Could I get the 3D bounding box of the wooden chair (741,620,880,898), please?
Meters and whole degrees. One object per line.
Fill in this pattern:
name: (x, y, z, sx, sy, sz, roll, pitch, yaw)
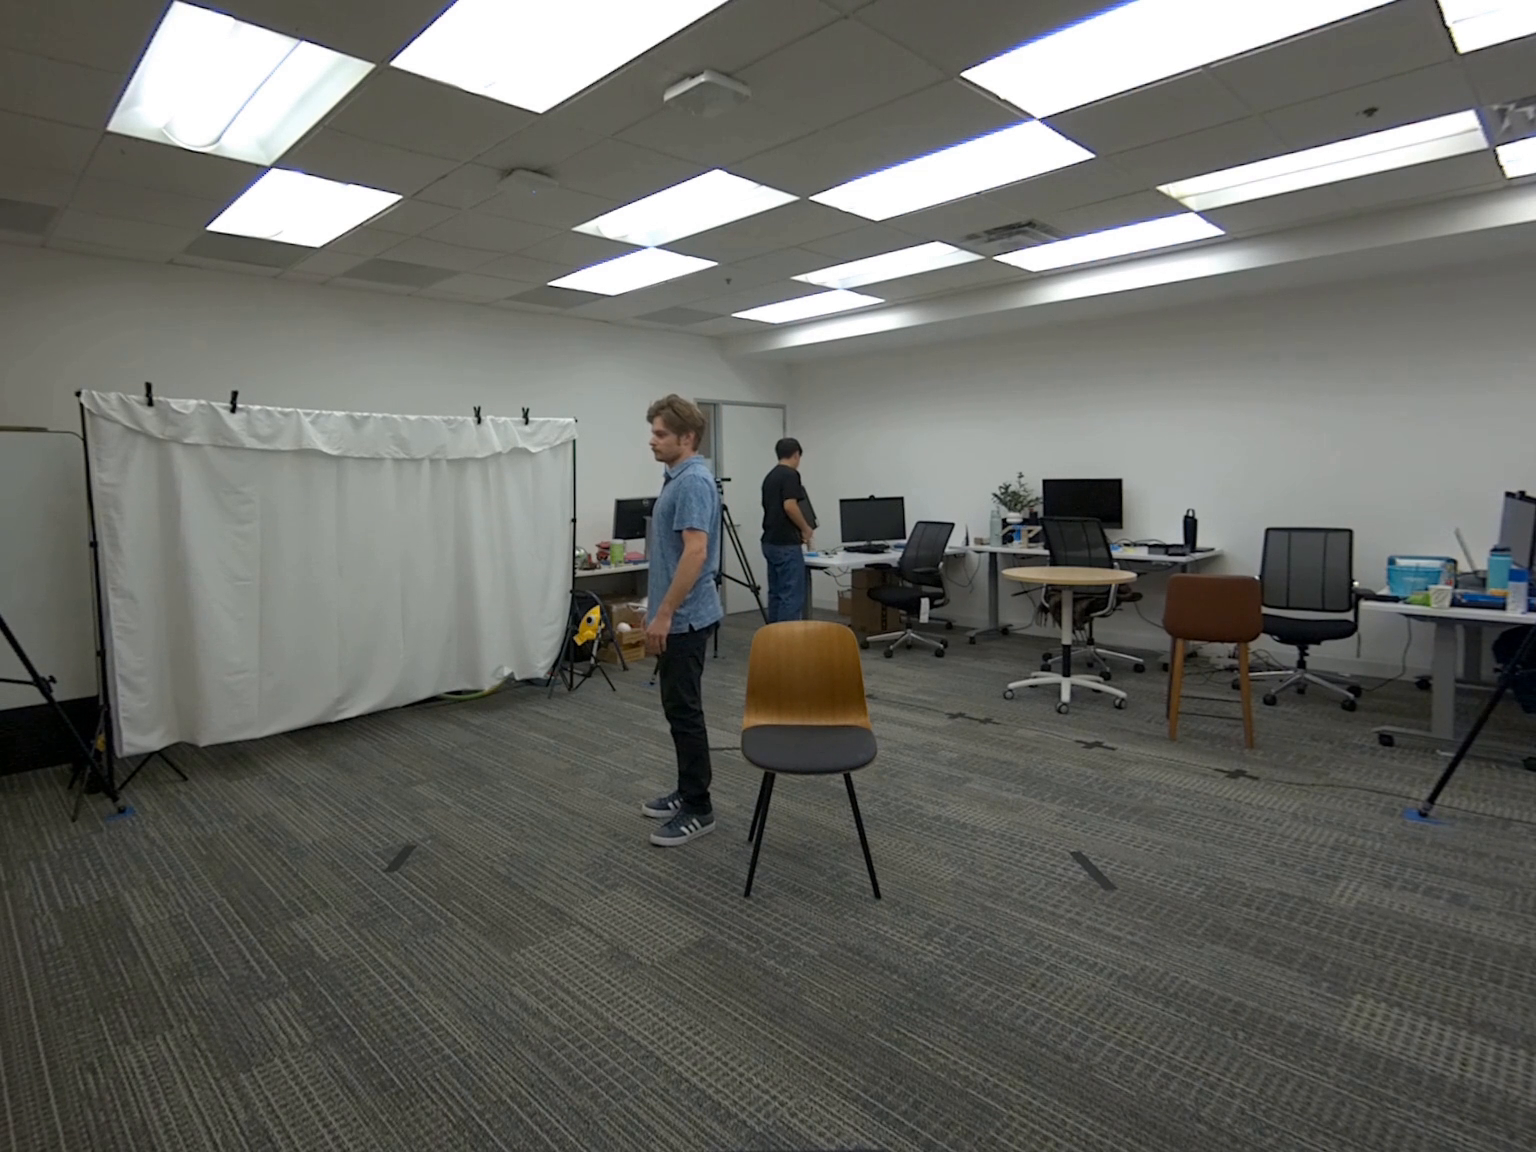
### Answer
wooden chair: (0.149, 0.623, 3.015, 0.479, 0.877, 0.522, 0, 0, 1)
